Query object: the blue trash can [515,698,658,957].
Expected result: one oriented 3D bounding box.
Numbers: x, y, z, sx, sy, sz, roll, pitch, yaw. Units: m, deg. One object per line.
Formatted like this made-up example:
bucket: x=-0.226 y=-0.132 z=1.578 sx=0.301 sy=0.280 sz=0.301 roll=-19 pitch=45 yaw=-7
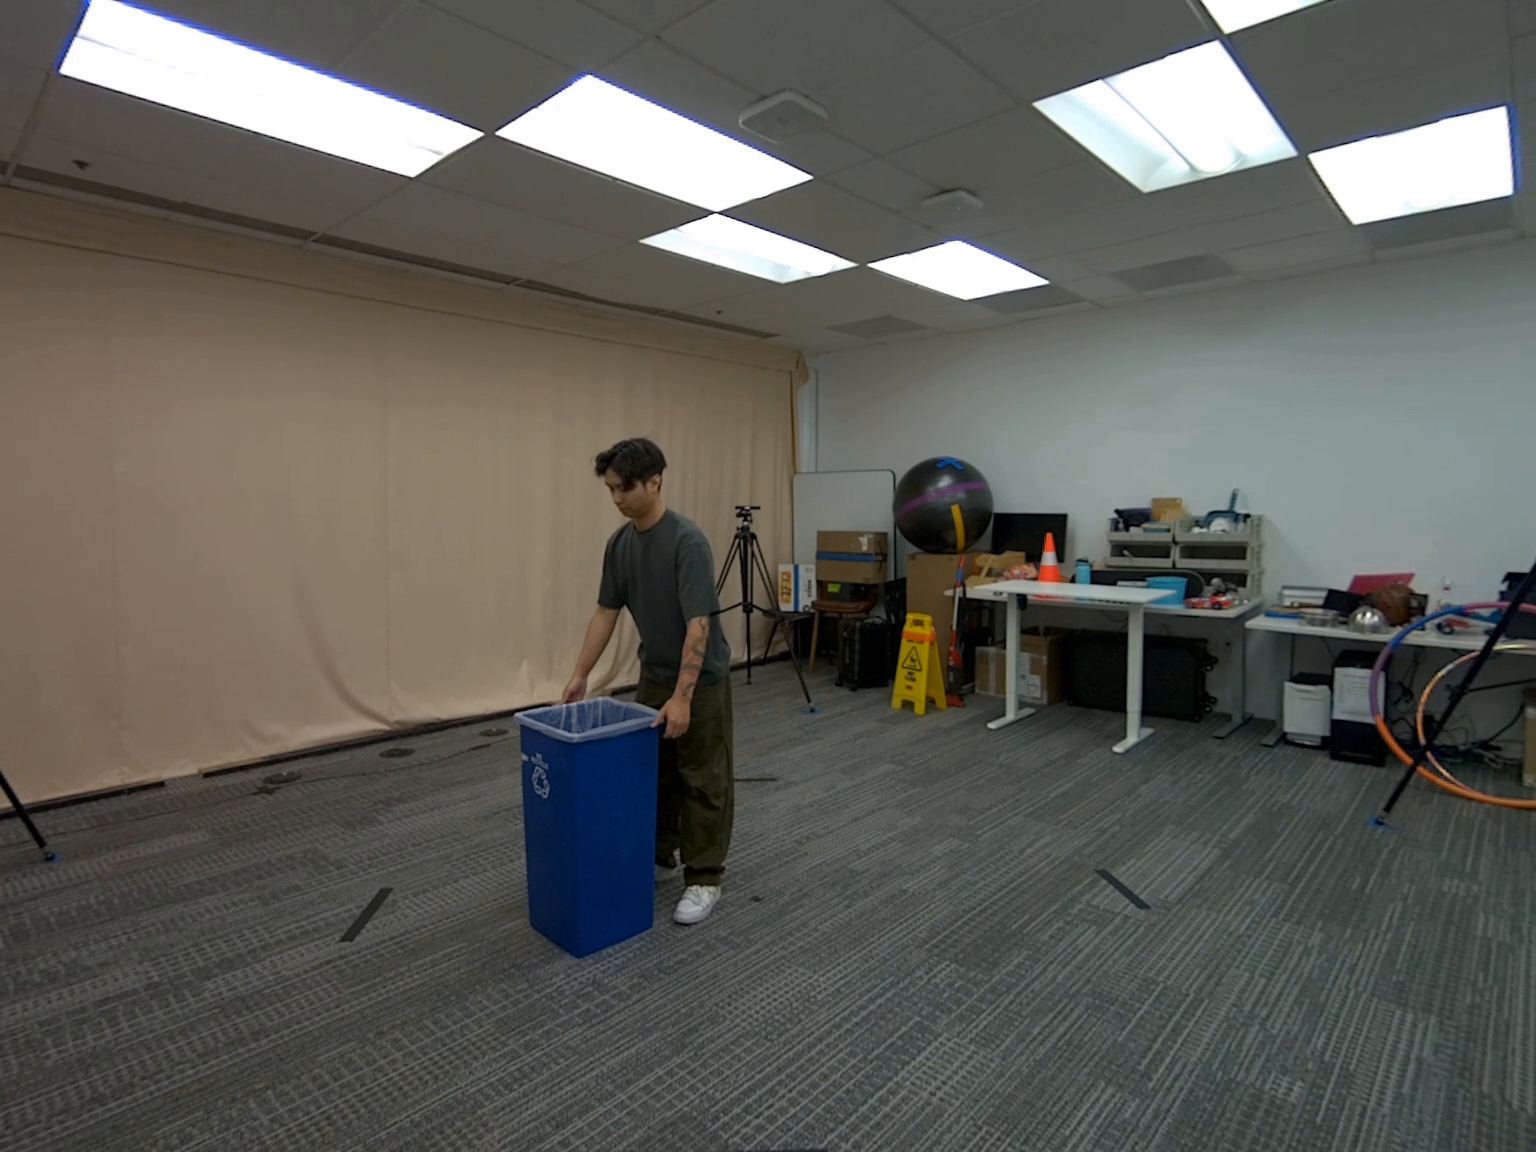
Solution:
blue trash can: x=-0.580 y=0.806 z=2.775 sx=0.366 sy=0.712 sz=0.386 roll=-4 pitch=5 yaw=-45
